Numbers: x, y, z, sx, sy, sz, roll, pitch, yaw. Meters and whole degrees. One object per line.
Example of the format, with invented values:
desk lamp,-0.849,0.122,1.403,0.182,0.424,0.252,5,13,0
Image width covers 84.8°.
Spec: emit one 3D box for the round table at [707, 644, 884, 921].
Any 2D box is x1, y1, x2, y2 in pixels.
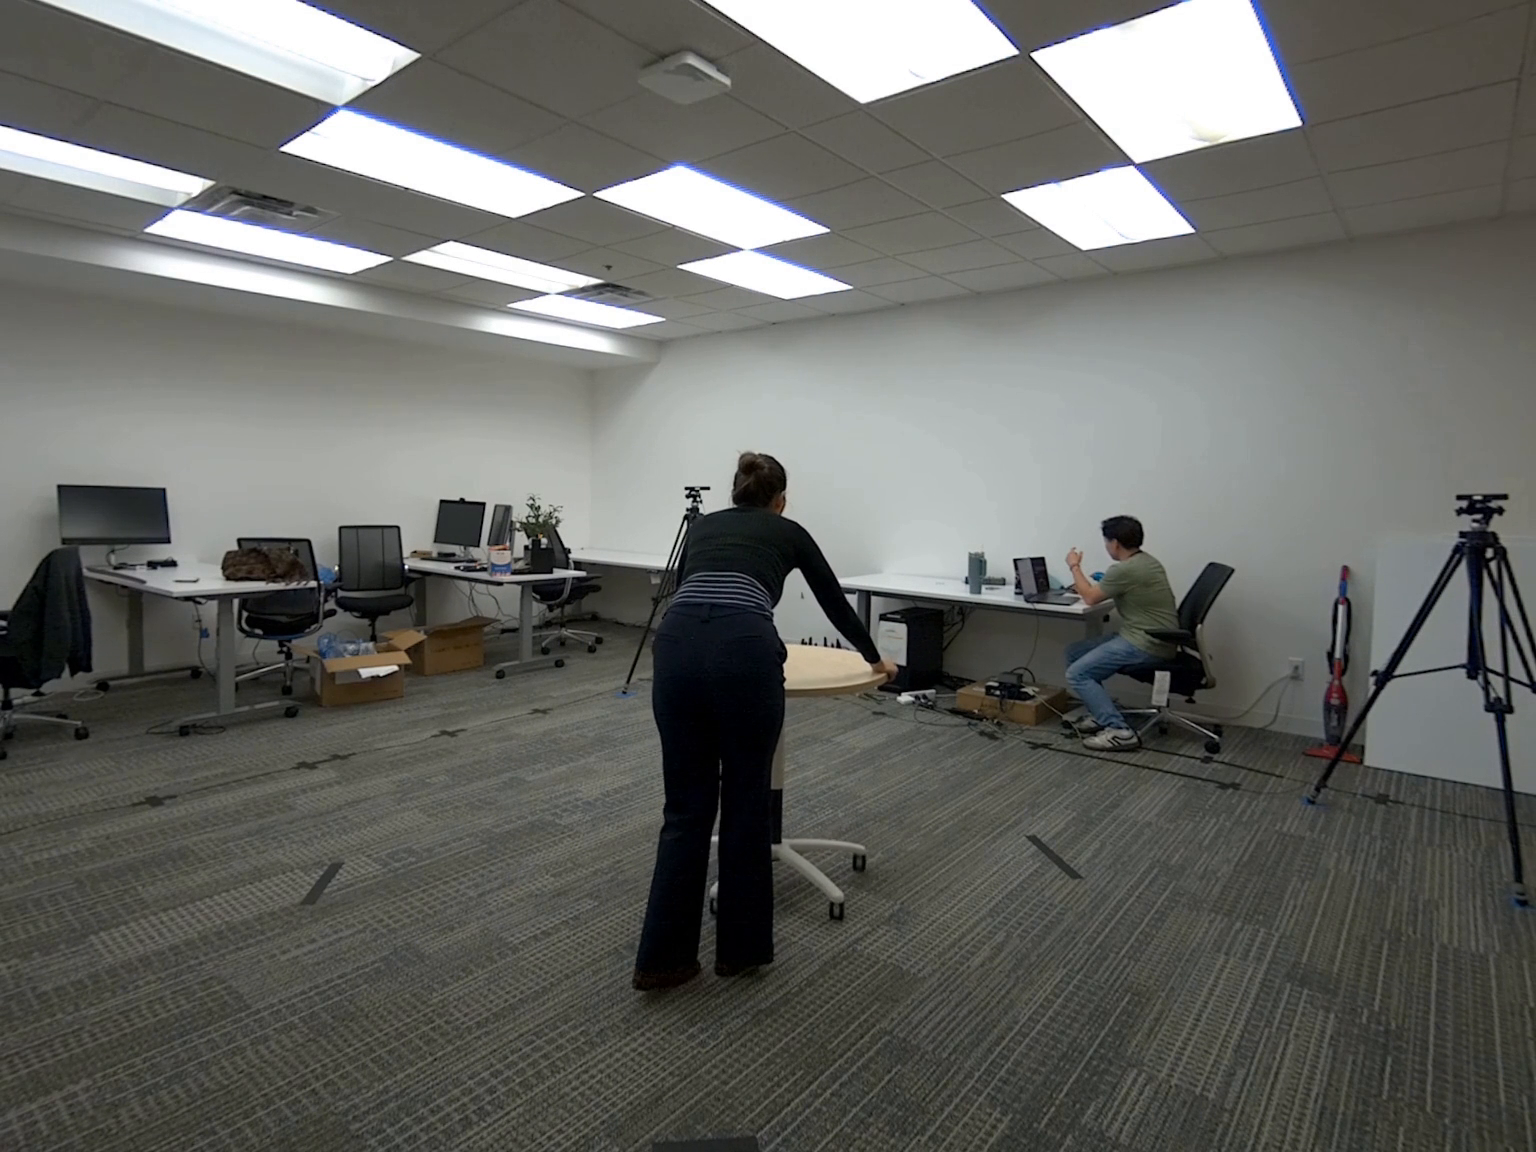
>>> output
round table,0.020,0.693,3.012,0.763,0.791,0.768,1,4,-2
